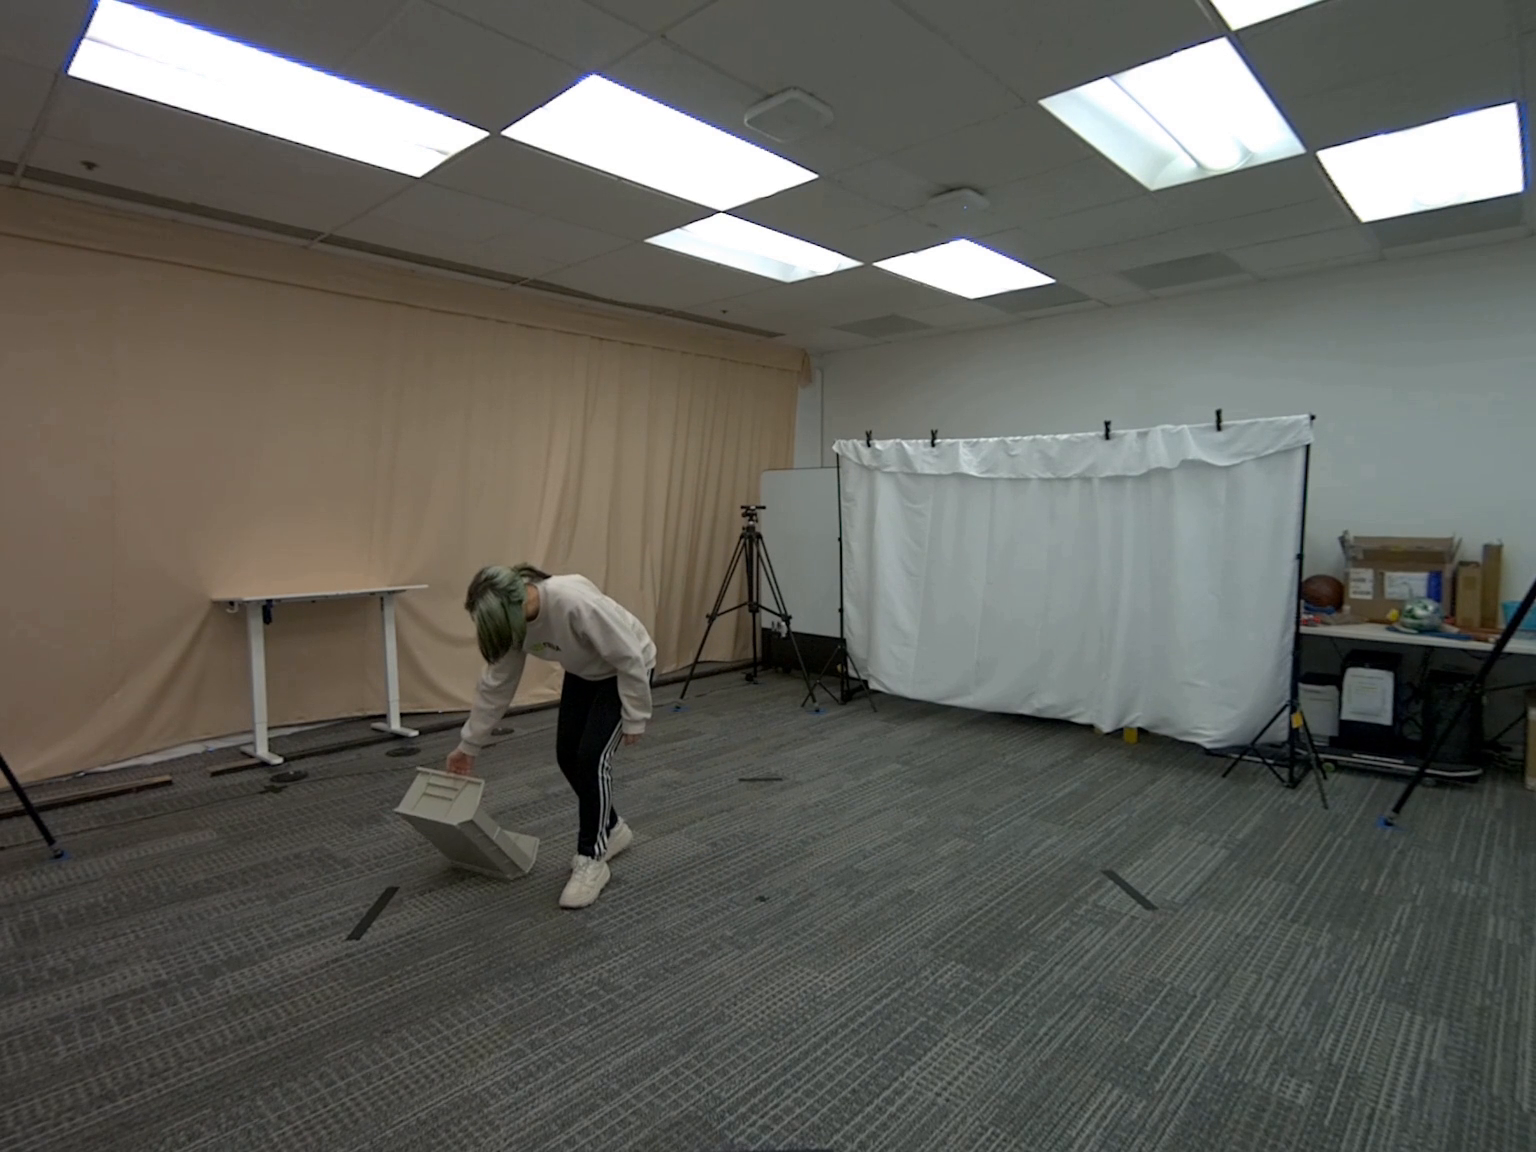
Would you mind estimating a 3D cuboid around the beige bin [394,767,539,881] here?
[{"bbox_3d":[-1.105,0.926,3.140,0.387,0.410,0.189,1,47,27],"label":"beige bin"}]
